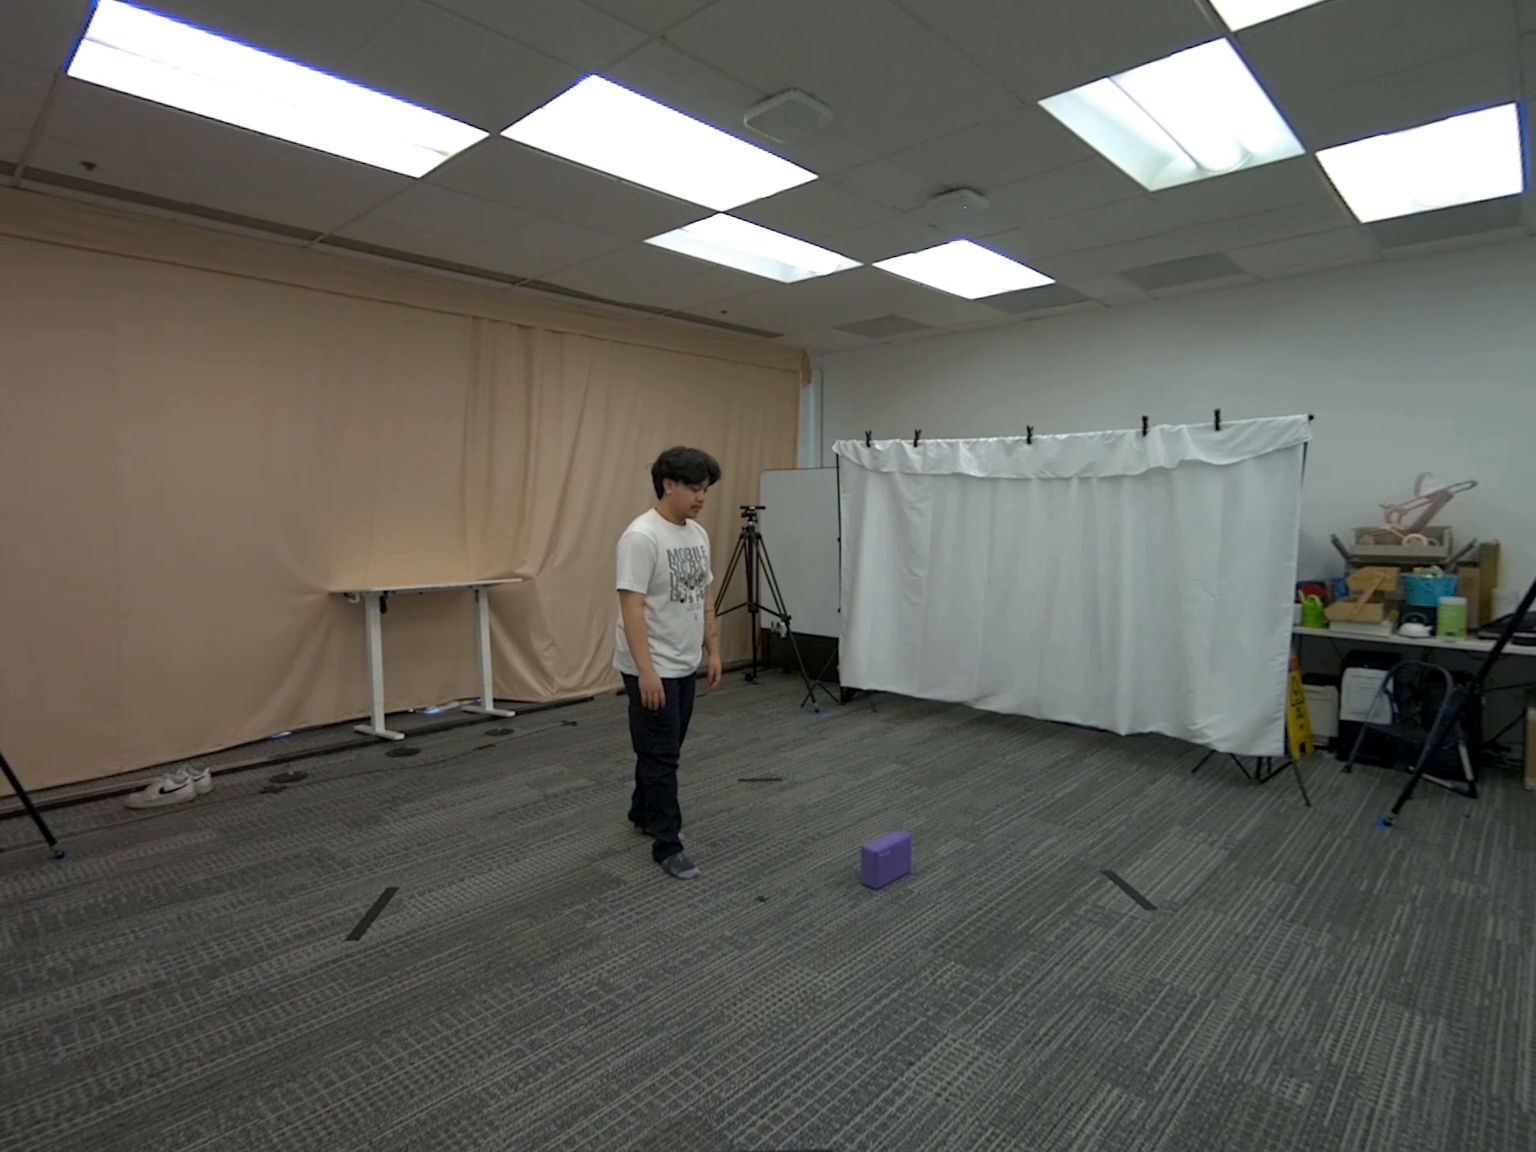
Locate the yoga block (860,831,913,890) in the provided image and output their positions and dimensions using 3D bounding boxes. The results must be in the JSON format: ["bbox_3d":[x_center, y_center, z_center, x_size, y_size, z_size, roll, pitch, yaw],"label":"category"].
[{"bbox_3d":[0.446,1.054,3.137,0.222,0.149,0.079,-3,4,-44],"label":"yoga block"}]
